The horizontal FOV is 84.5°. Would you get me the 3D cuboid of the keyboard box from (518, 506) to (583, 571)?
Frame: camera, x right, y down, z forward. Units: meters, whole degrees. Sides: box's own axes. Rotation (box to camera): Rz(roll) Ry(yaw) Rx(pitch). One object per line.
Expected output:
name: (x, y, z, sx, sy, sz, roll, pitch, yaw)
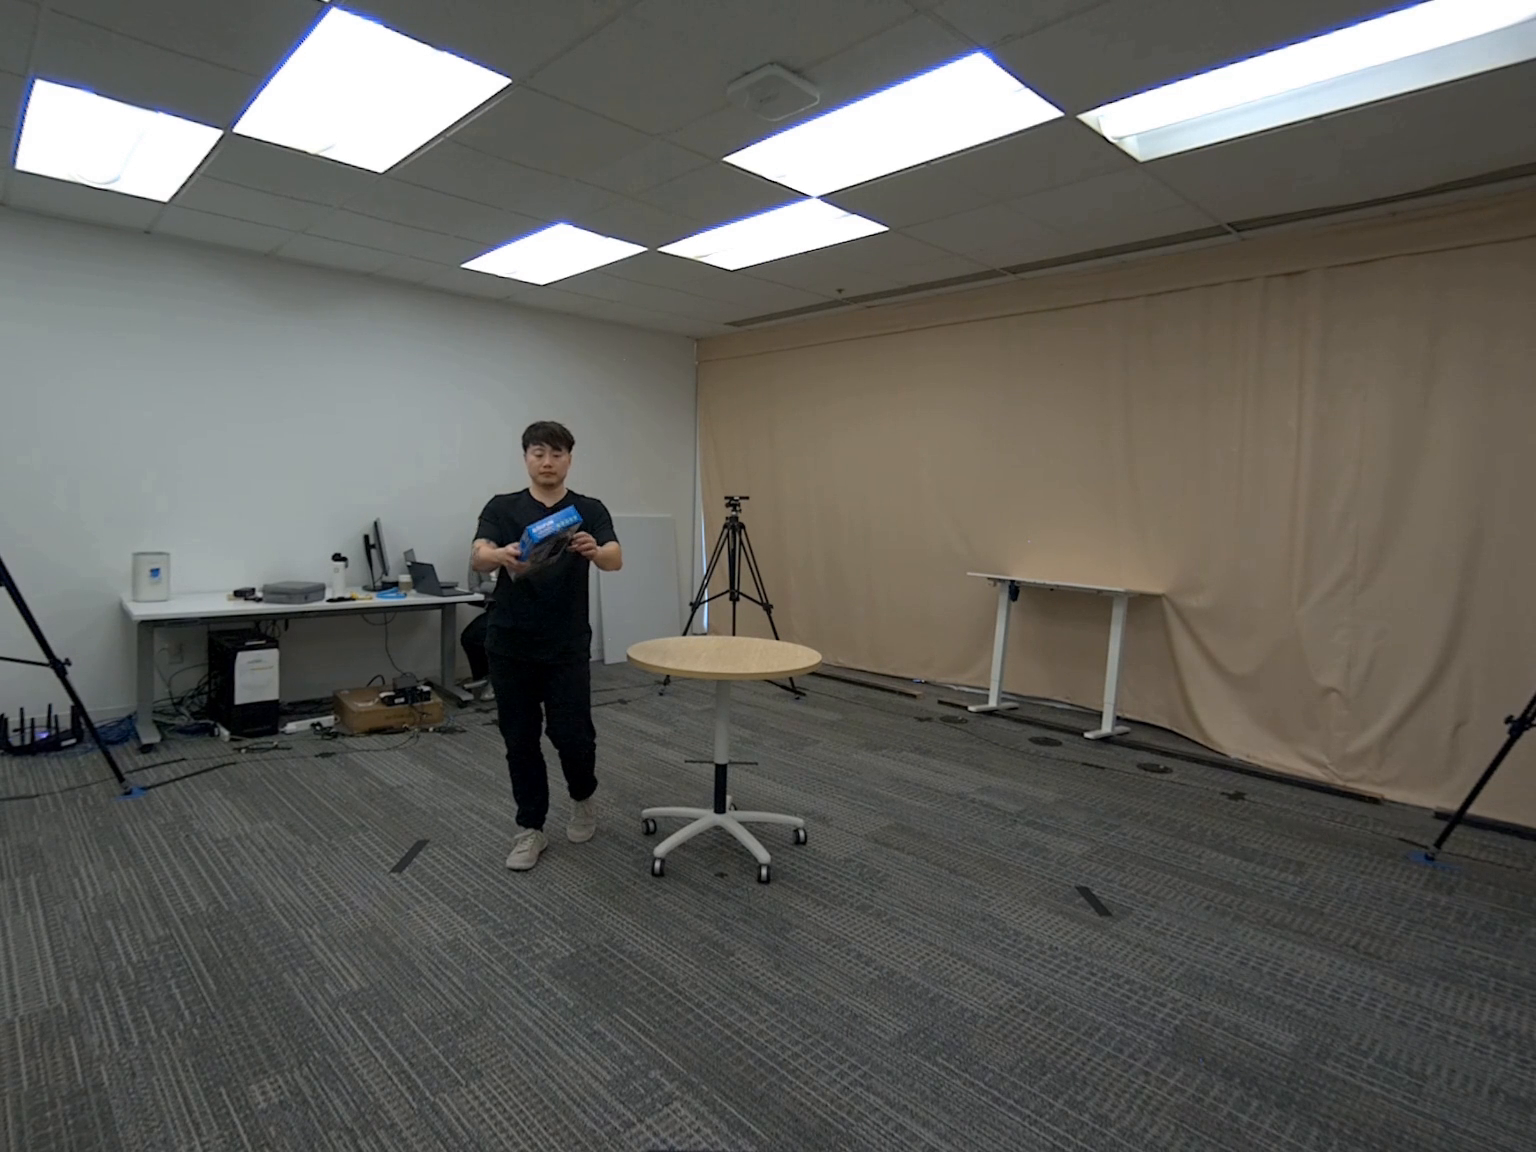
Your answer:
keyboard box: (-0.754, -0.097, 2.782, 0.174, 0.059, 0.439, -31, -2, -28)
